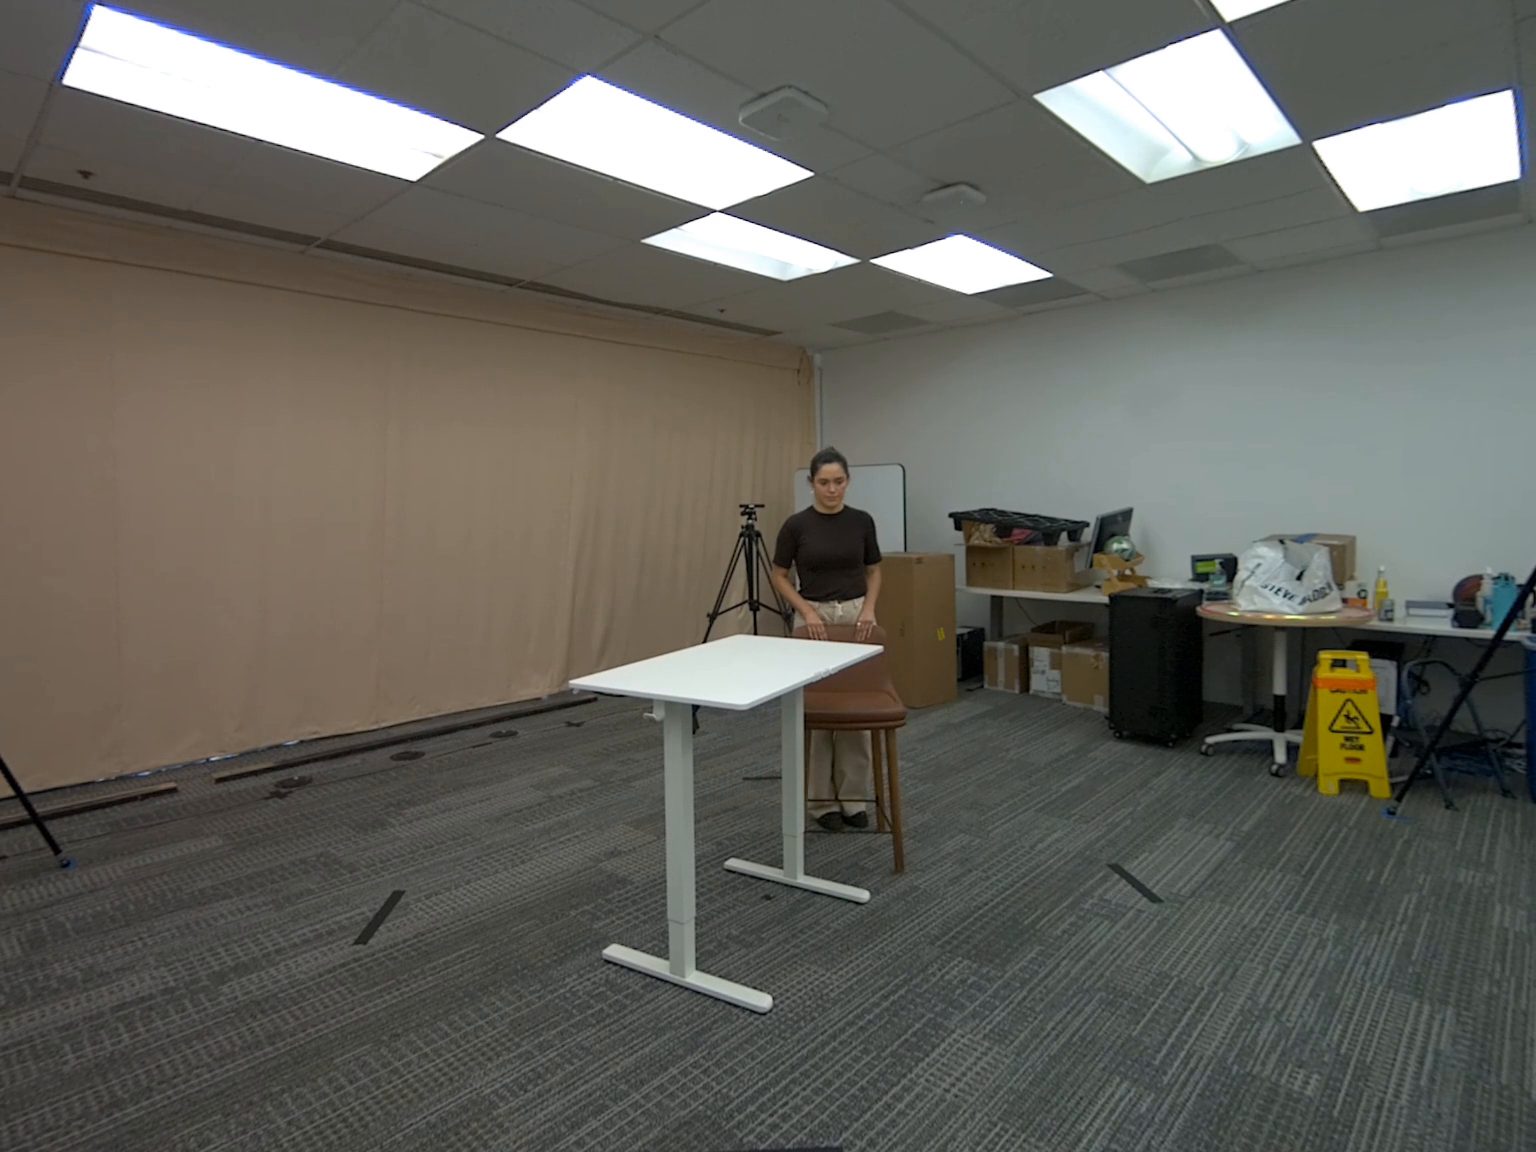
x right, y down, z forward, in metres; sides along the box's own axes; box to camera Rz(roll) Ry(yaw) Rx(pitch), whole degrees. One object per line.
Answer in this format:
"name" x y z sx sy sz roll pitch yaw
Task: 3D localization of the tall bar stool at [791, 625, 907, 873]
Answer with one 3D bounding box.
"tall bar stool" 0.306 0.658 3.366 0.458 0.890 0.466 0 0 2
